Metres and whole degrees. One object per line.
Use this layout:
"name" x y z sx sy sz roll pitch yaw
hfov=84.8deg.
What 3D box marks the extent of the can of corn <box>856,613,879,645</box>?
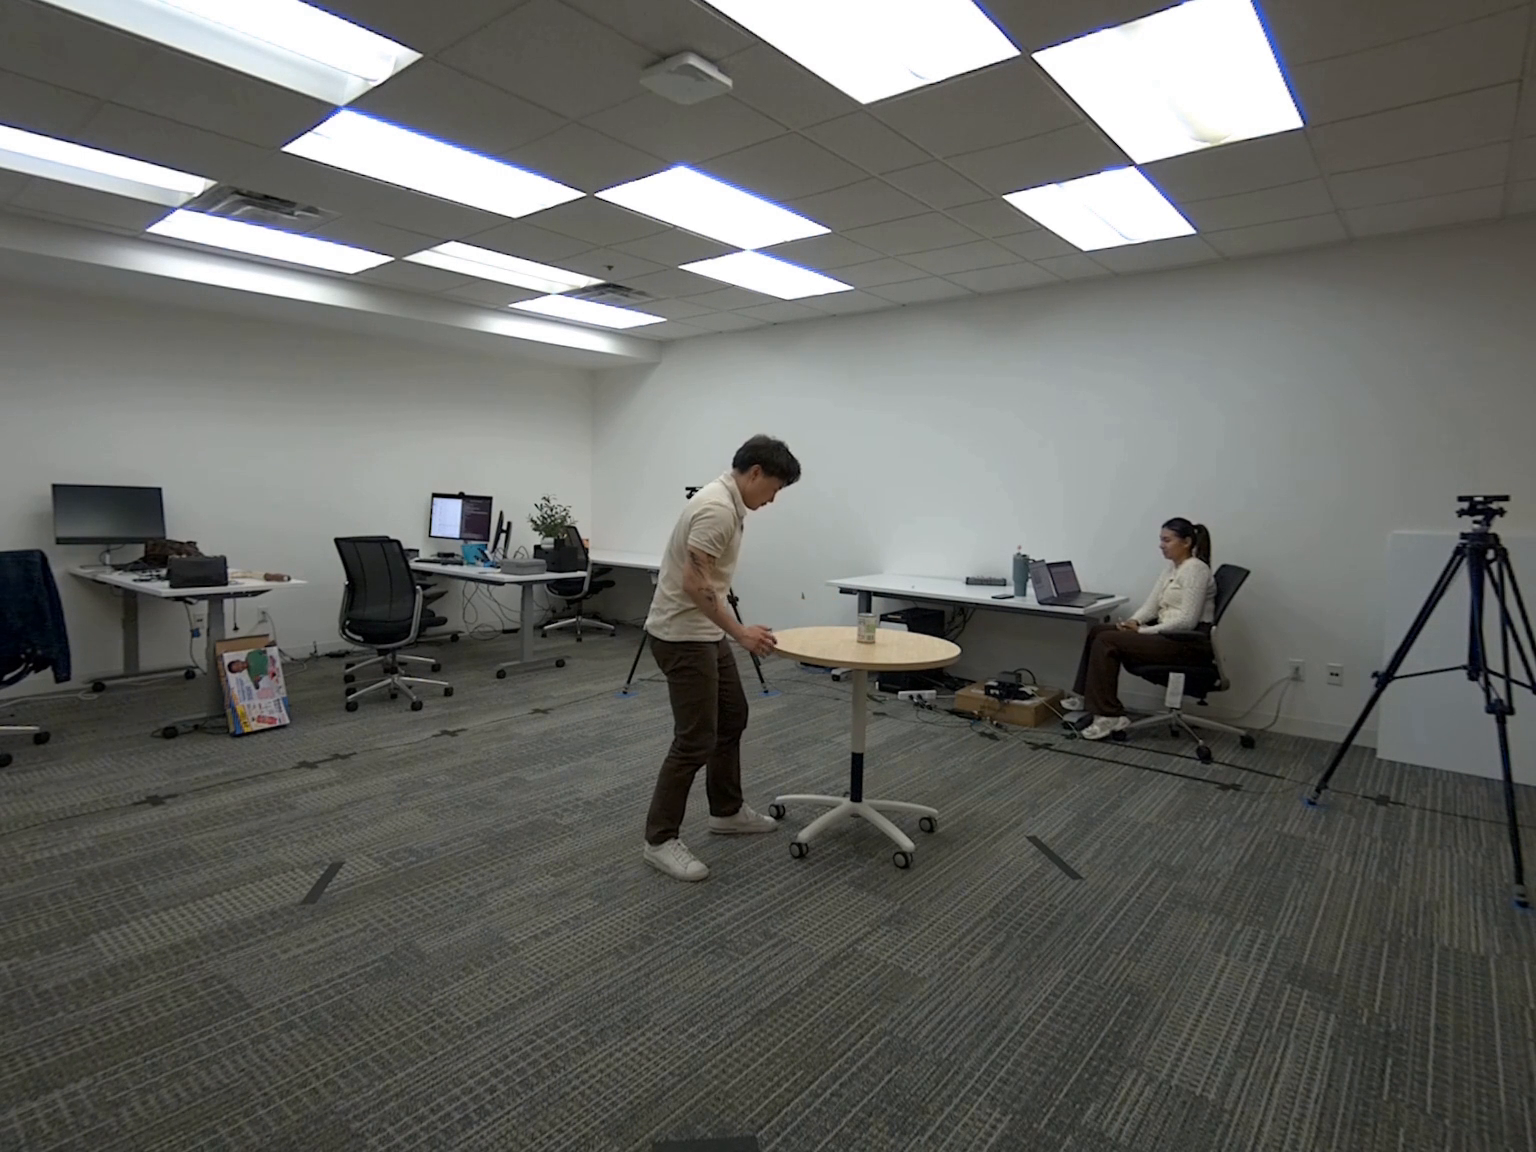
"can of corn" 0.389 0.207 3.410 0.074 0.110 0.075 4 6 -2
